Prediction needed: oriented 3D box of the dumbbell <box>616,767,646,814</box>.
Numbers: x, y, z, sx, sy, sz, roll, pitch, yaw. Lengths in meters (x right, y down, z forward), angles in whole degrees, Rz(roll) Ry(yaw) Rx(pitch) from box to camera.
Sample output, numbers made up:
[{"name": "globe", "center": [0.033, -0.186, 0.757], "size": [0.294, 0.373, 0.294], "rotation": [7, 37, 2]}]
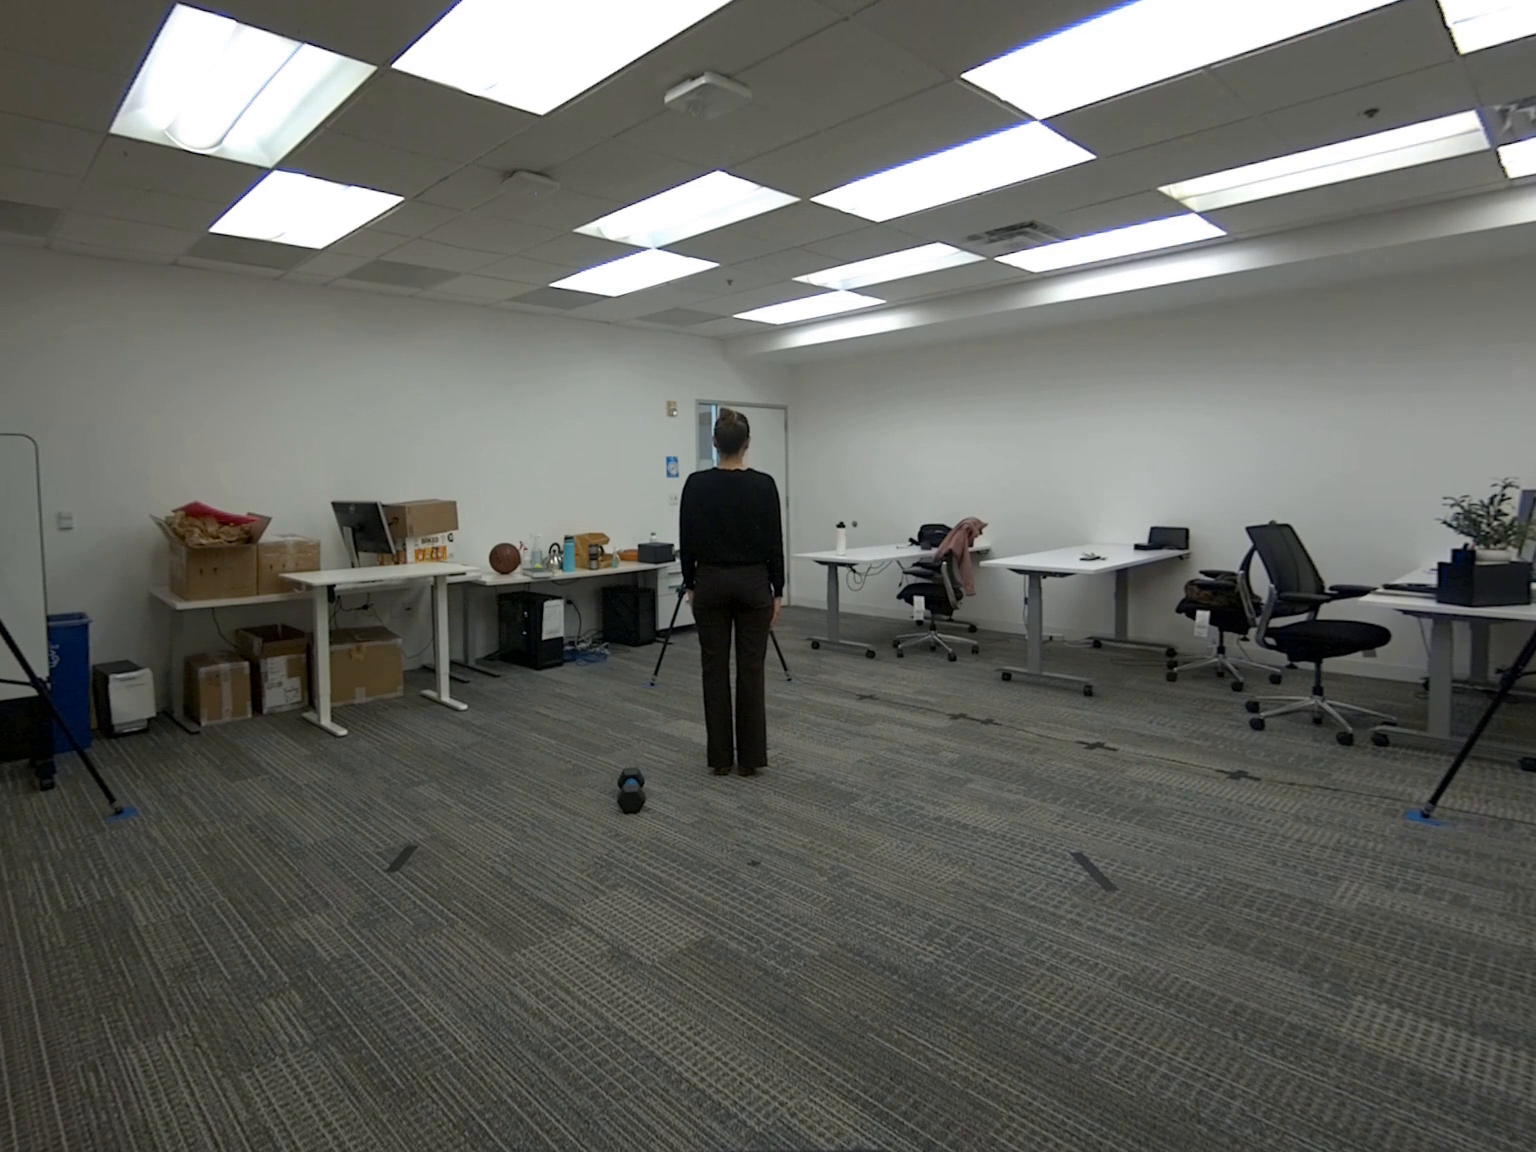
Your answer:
[{"name": "dumbbell", "center": [-0.593, 0.933, 3.728], "size": [0.108, 0.122, 0.297], "rotation": [-29, 10, -4]}]
